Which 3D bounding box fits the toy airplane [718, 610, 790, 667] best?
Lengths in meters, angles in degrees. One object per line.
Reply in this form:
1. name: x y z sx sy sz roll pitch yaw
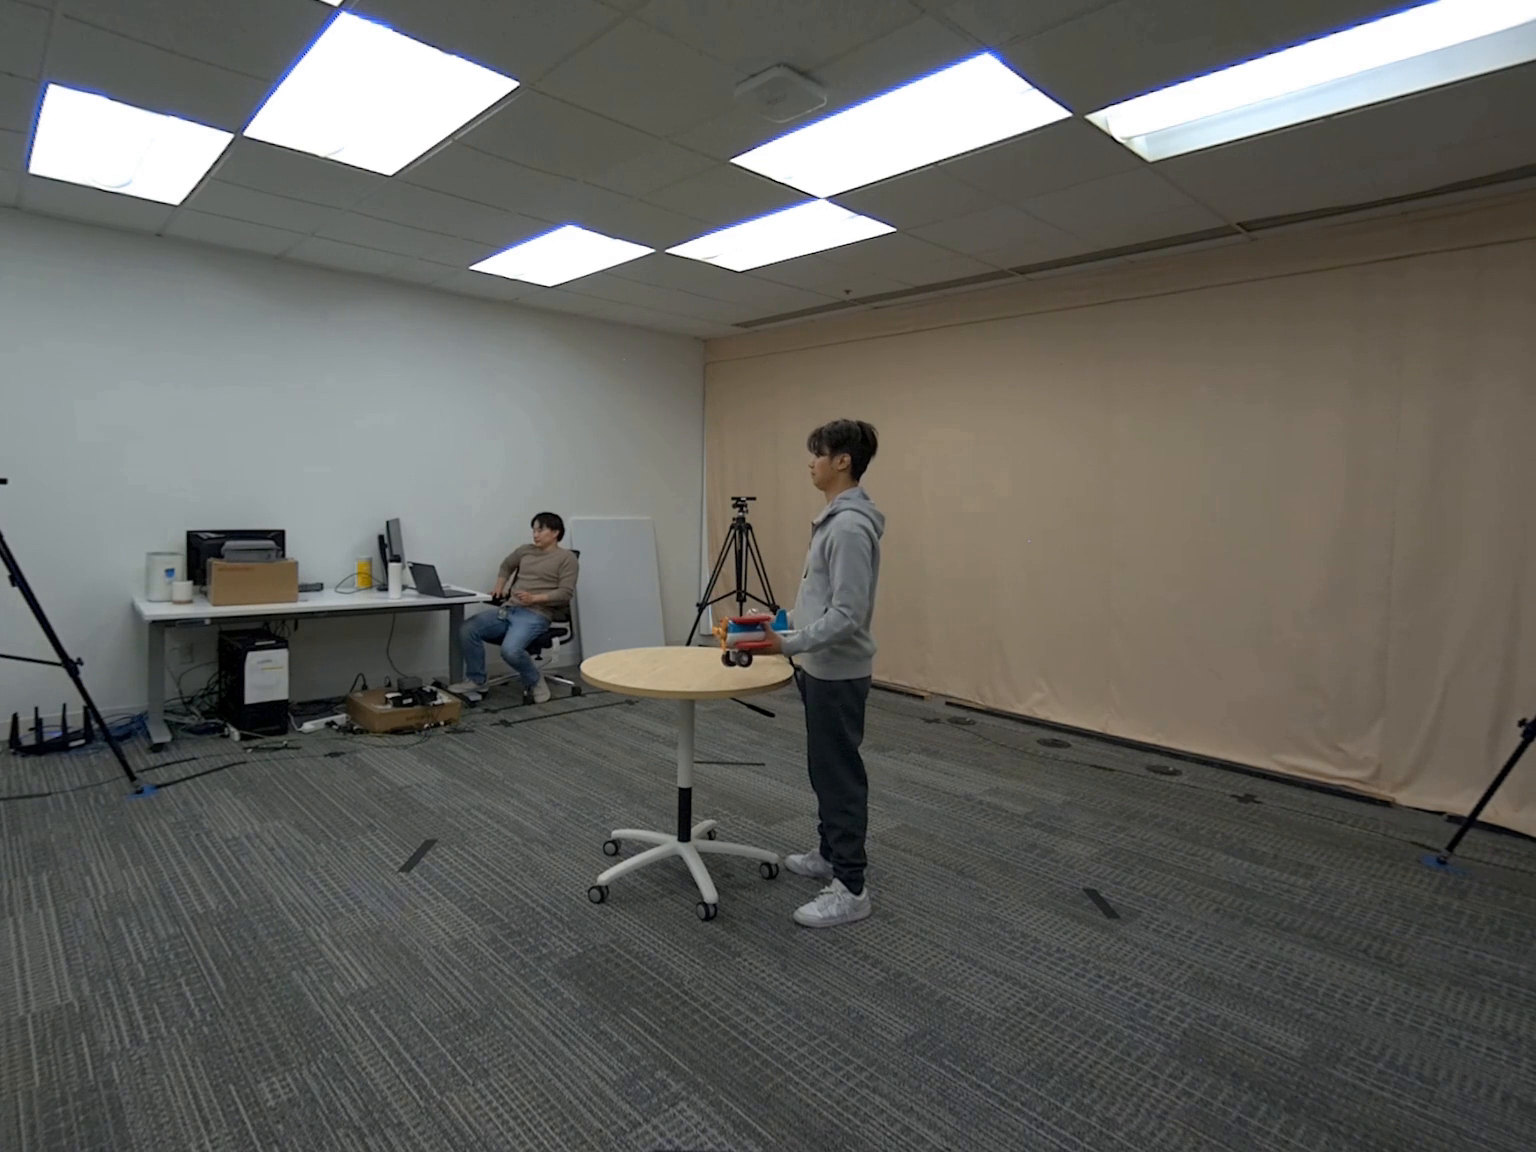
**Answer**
1. toy airplane: -0.065 0.174 2.704 0.255 0.156 0.256 -13 4 29
